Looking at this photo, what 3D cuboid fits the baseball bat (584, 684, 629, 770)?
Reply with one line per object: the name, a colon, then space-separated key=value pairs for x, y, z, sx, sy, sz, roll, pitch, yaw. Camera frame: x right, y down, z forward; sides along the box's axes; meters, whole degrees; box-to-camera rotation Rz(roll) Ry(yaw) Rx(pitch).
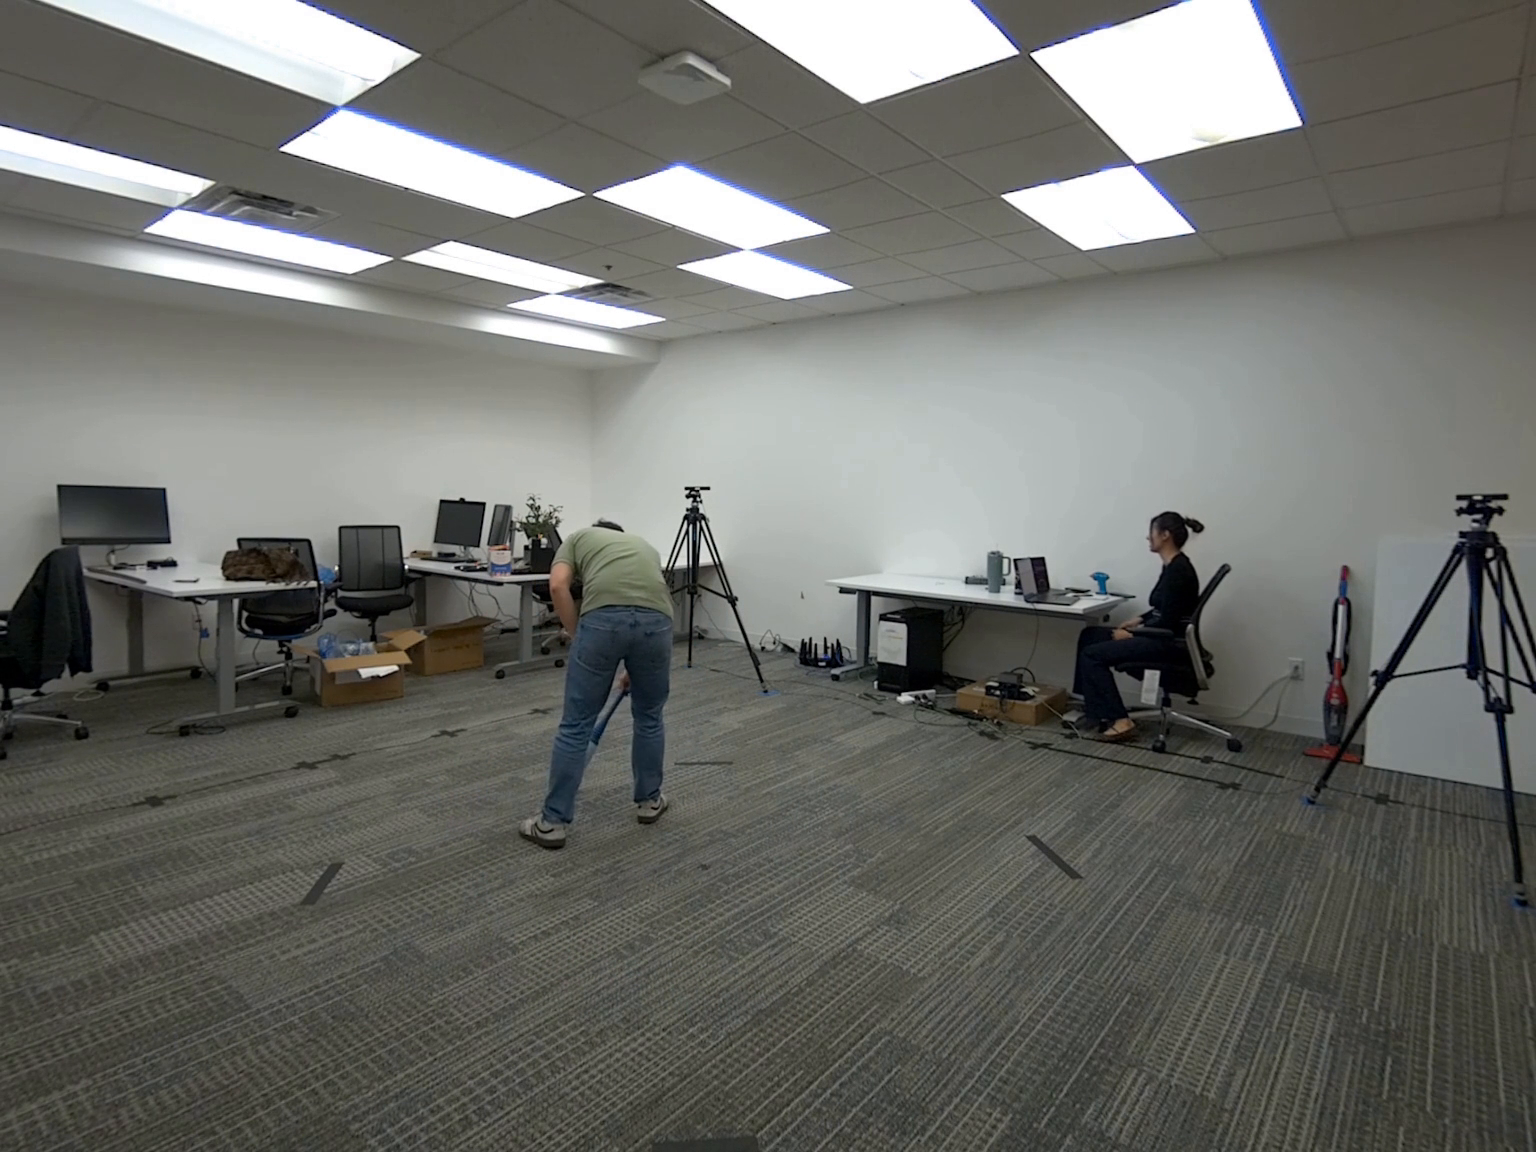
baseball bat: x=-0.817 y=0.745 z=3.911 sx=0.090 sy=0.545 sz=0.087 roll=29 pitch=-17 yaw=8
